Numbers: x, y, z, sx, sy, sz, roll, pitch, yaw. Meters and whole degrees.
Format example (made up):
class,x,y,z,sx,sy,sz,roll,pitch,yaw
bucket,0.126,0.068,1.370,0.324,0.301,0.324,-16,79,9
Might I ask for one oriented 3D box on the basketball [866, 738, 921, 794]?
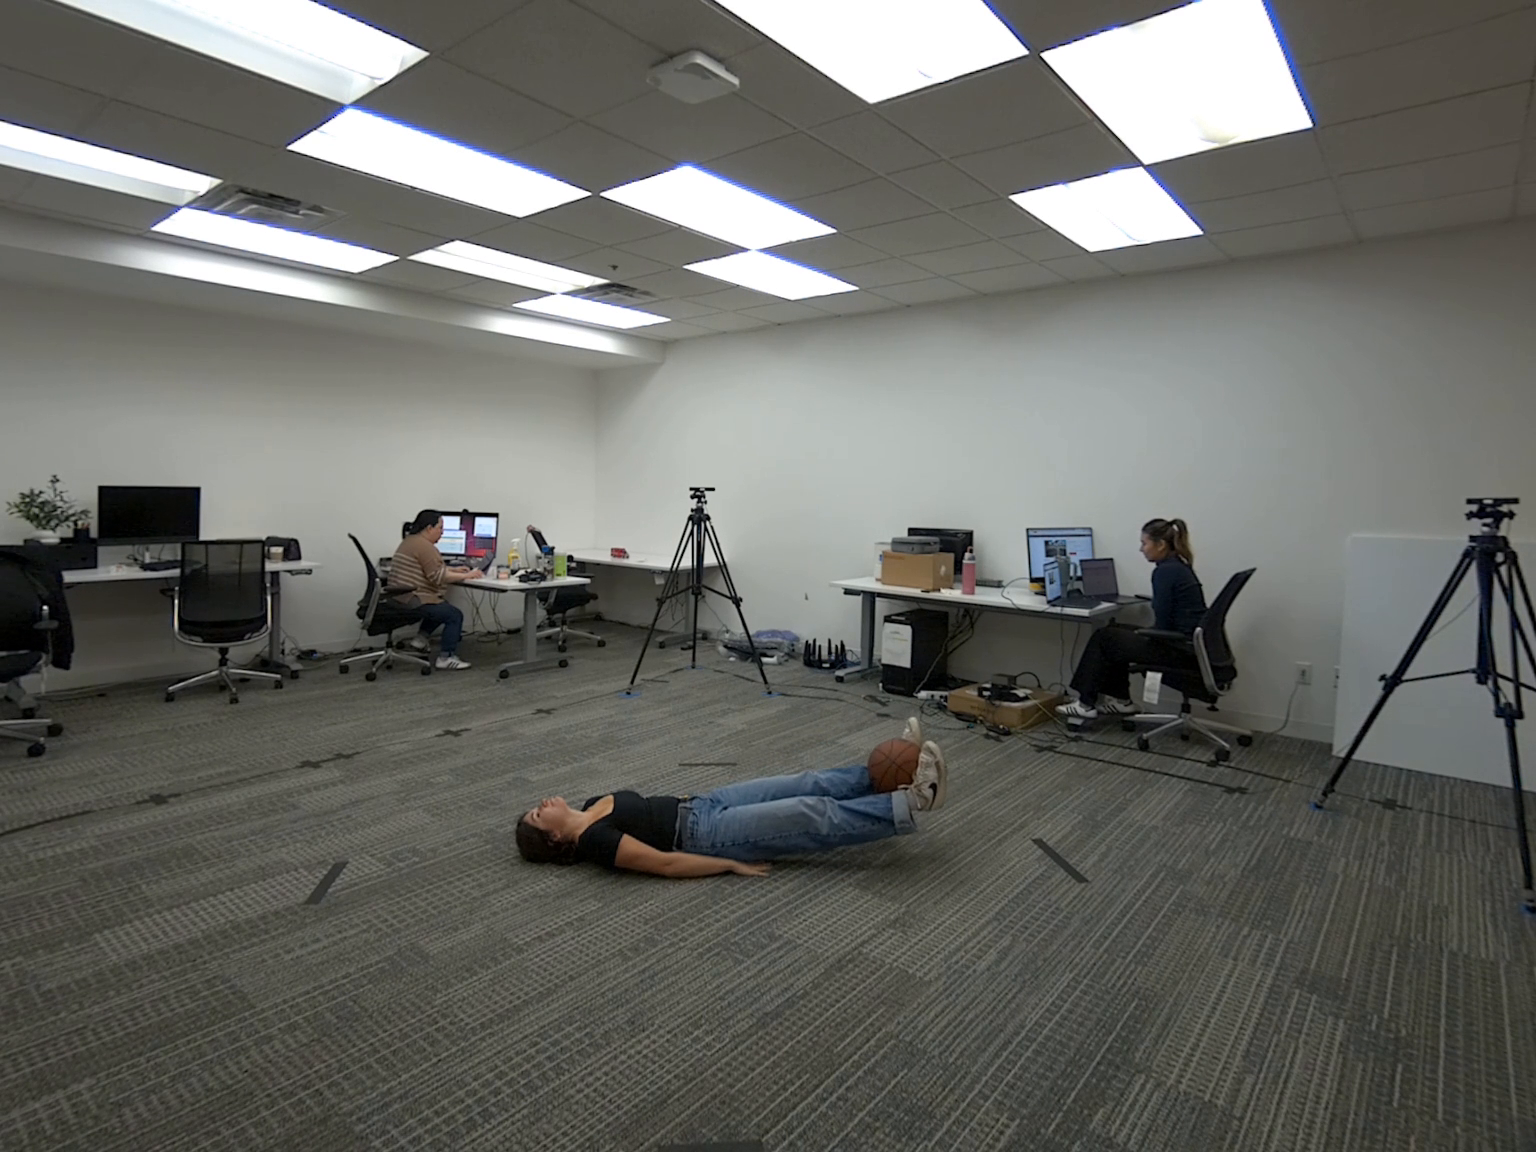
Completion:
class,x,y,z,sx,sy,sz,roll,pitch,yaw
basketball,0.498,0.745,3.306,0.235,0.235,0.237,1,4,-2
